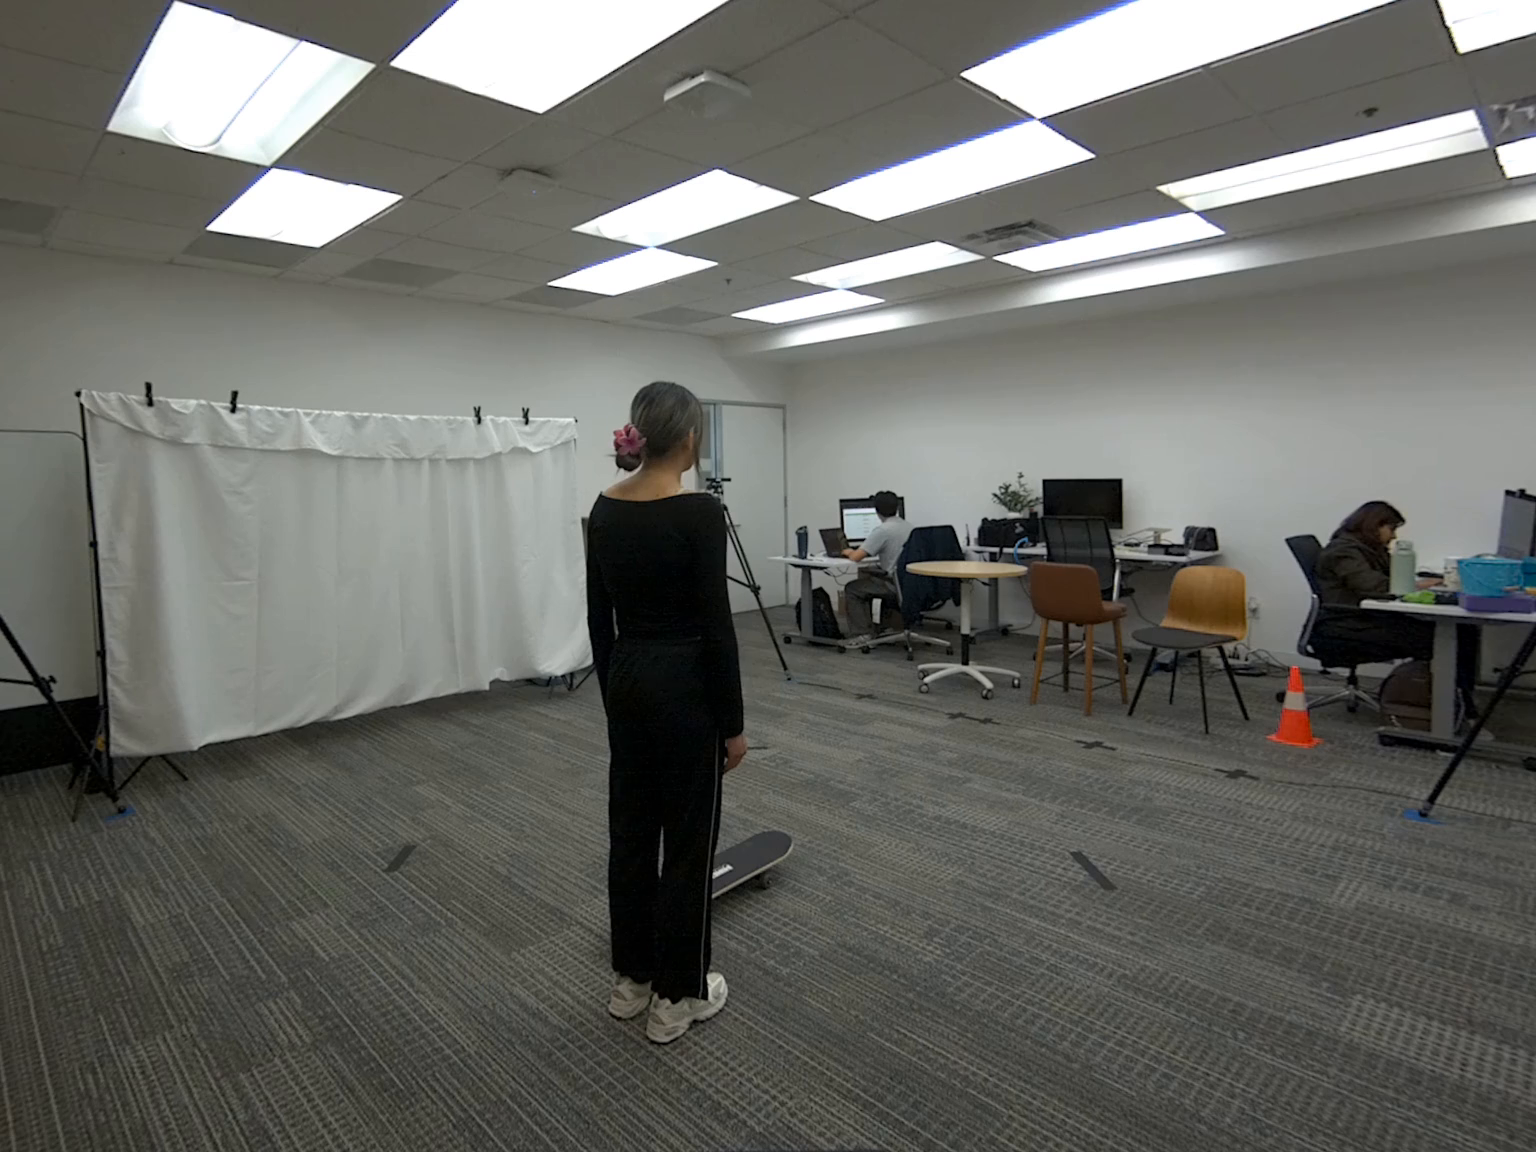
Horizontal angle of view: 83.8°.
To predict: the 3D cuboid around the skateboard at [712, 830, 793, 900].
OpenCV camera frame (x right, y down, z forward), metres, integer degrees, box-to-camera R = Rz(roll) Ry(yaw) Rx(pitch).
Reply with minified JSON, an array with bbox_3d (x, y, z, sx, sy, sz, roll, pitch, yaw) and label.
[{"bbox_3d":[-0.190,1.021,2.814,0.199,0.110,0.766,4,9,40],"label":"skateboard"}]
